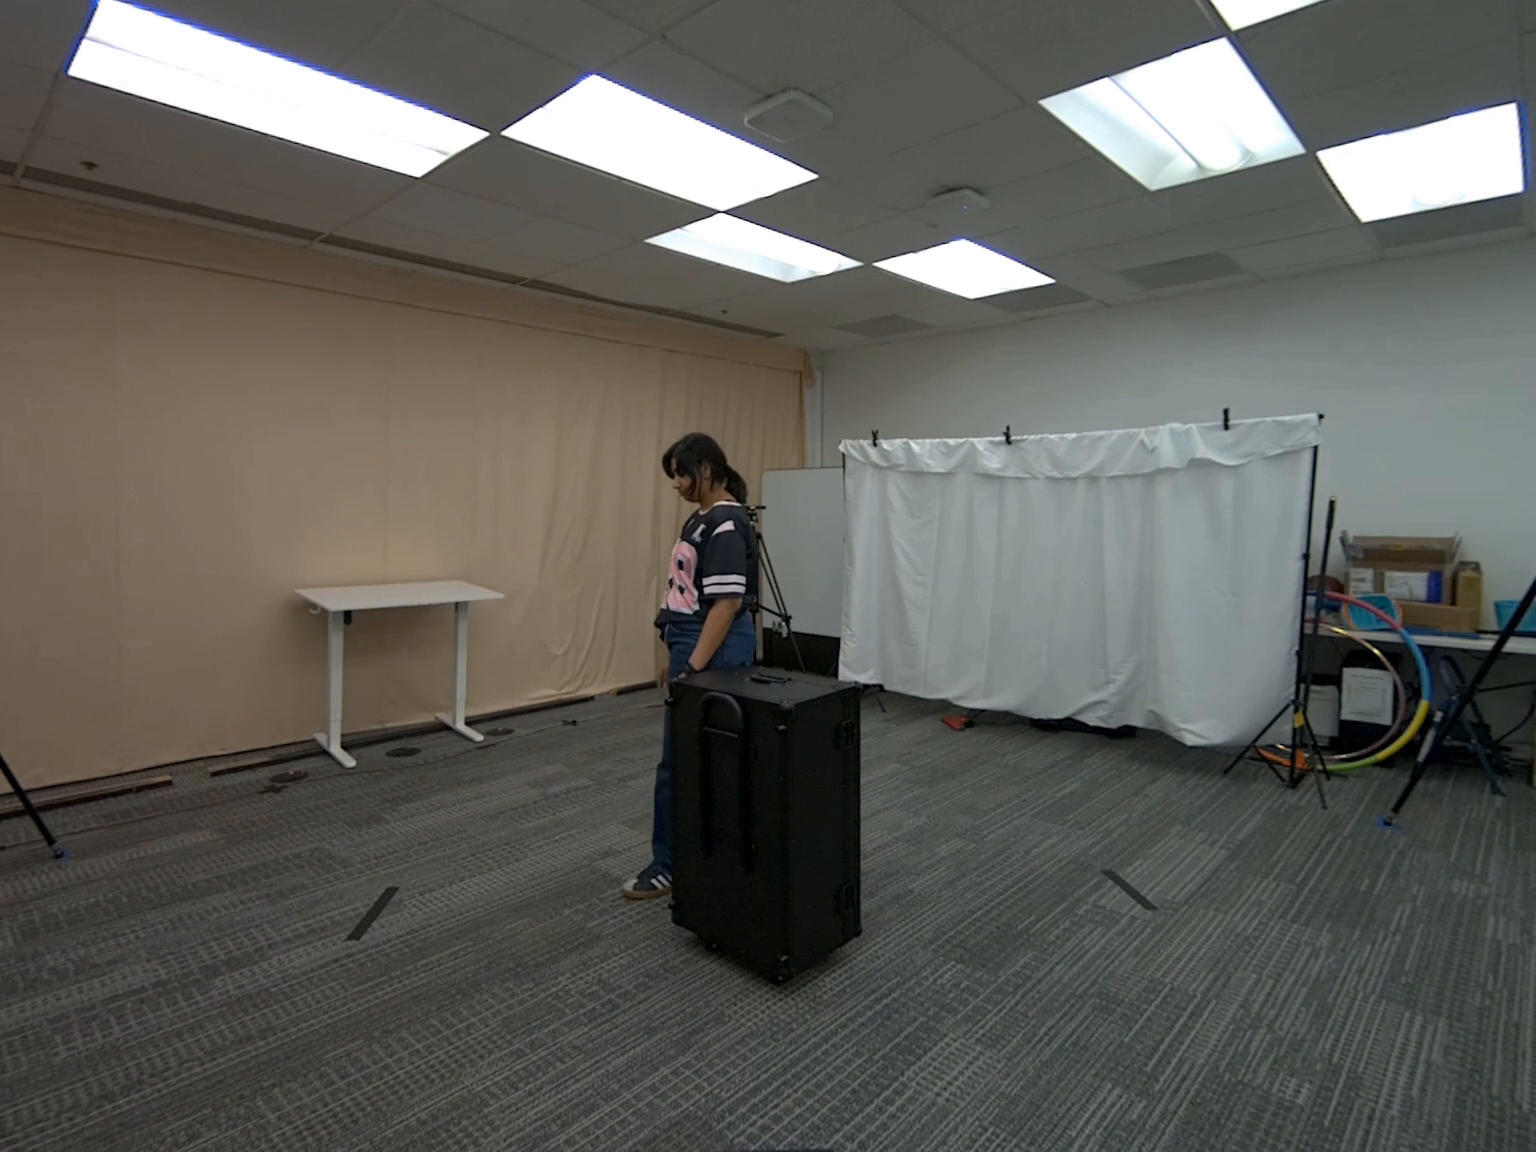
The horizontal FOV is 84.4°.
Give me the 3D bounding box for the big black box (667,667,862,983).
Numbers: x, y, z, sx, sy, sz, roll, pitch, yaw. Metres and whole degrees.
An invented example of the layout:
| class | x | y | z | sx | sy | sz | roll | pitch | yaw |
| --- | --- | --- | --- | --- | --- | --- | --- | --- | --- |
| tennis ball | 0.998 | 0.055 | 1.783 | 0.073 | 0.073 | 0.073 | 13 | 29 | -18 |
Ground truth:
| class | x | y | z | sx | sy | sz | roll | pitch | yaw |
| --- | --- | --- | --- | --- | --- | --- | --- | --- | --- |
| big black box | -0.005 | 0.755 | 2.595 | 0.538 | 0.859 | 0.384 | 2 | 5 | 42 |
